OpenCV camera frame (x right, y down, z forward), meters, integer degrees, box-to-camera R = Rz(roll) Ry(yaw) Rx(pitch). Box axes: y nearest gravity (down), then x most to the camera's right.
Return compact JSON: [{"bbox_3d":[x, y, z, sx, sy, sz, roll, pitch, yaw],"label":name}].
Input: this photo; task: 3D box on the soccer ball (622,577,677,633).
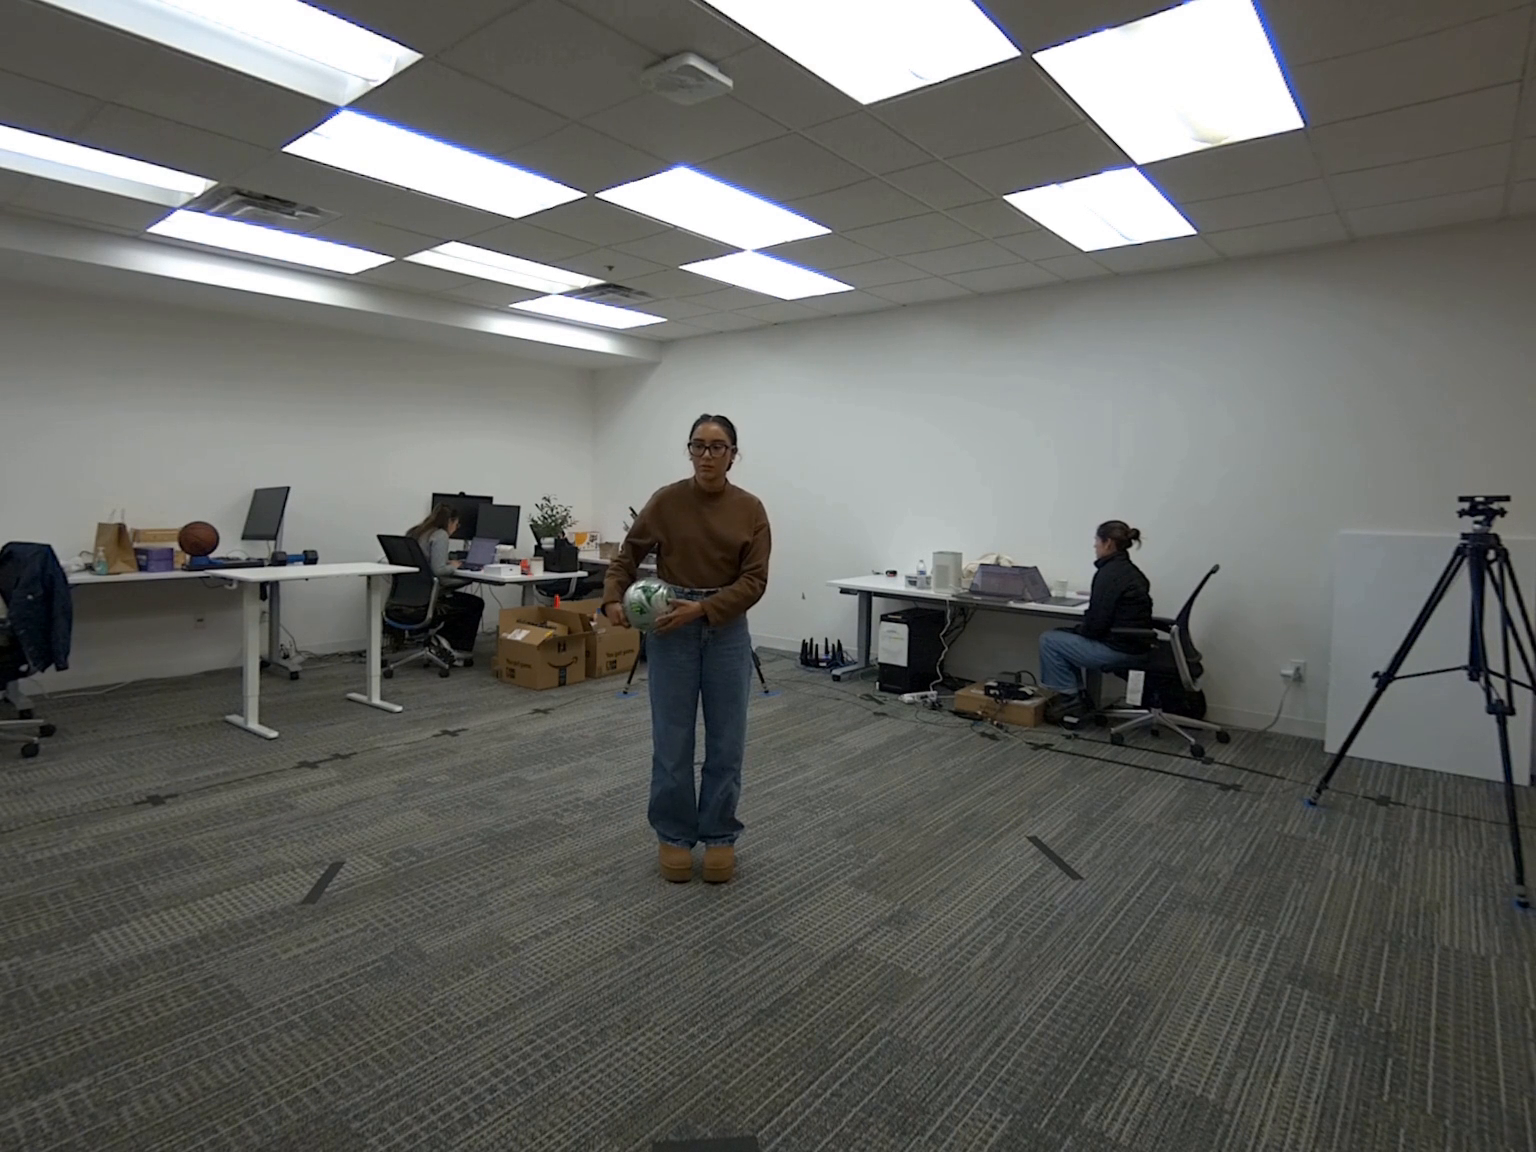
[{"bbox_3d":[-0.416,0.097,2.922,0.187,0.187,0.188,1,4,-2],"label":"soccer ball"}]
